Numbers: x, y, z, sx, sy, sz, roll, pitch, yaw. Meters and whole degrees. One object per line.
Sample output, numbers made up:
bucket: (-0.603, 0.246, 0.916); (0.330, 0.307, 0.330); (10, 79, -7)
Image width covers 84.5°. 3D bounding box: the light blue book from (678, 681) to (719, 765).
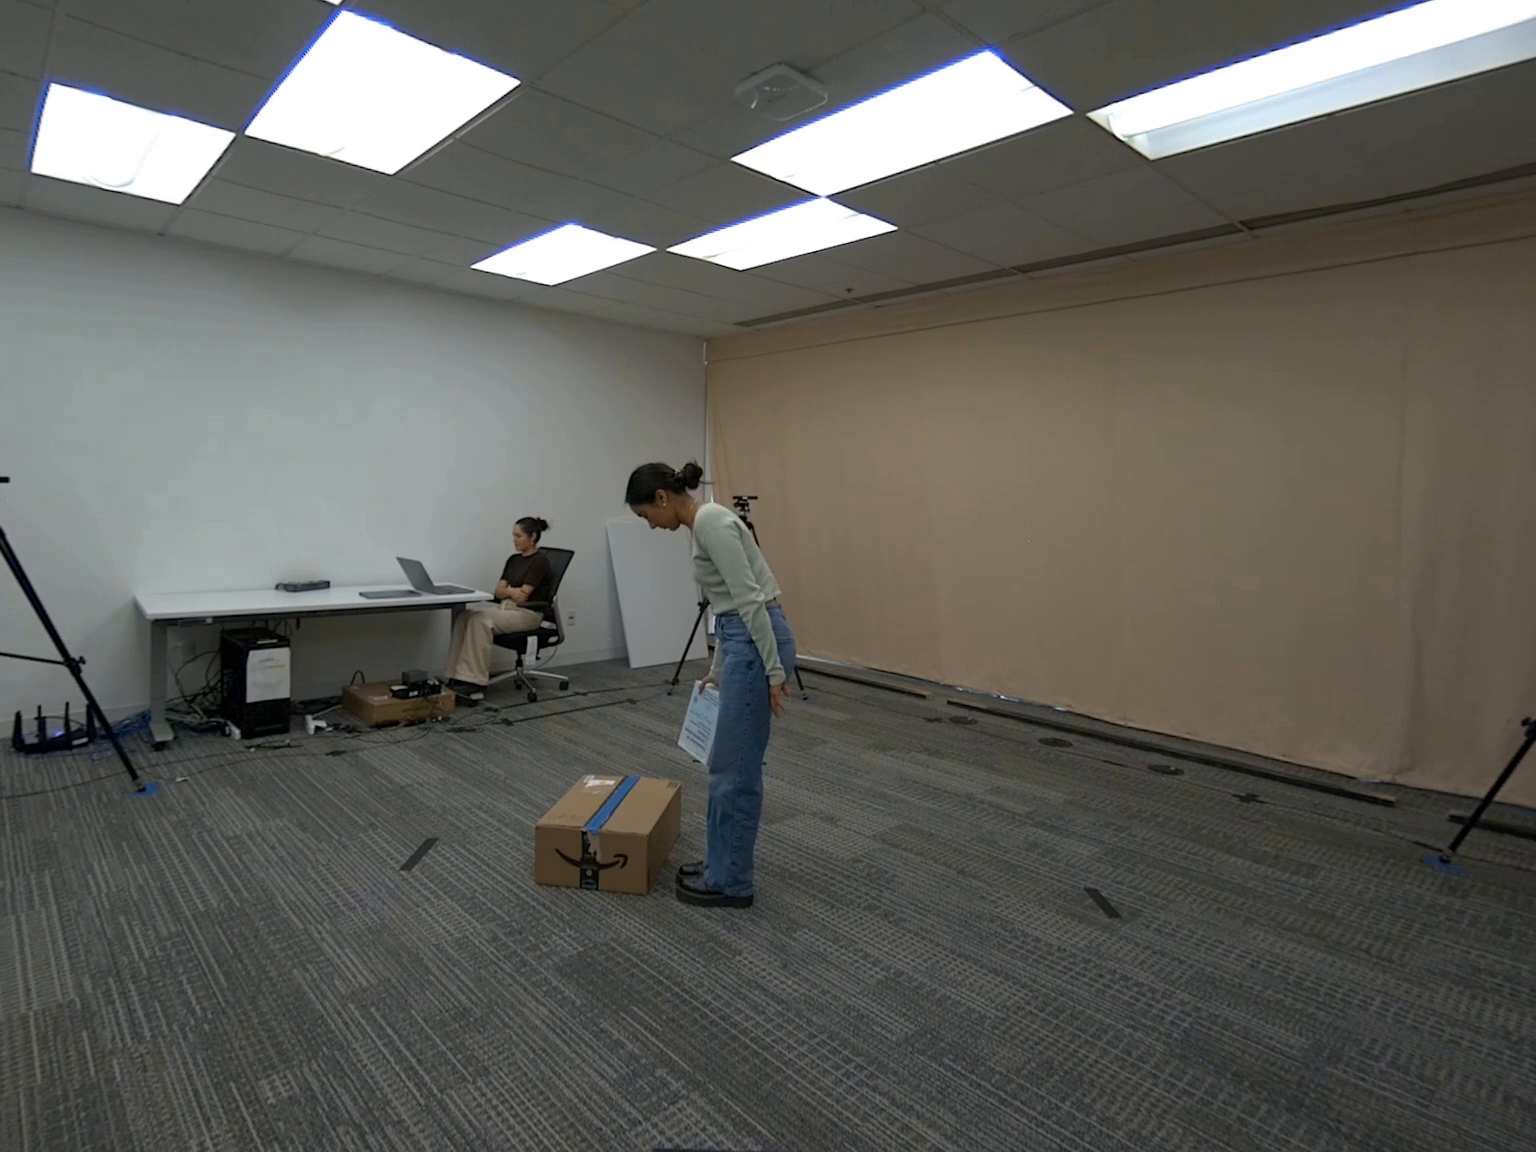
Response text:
light blue book: (-0.230, 0.553, 3.170); (0.057, 0.260, 0.197); (10, 8, -42)
